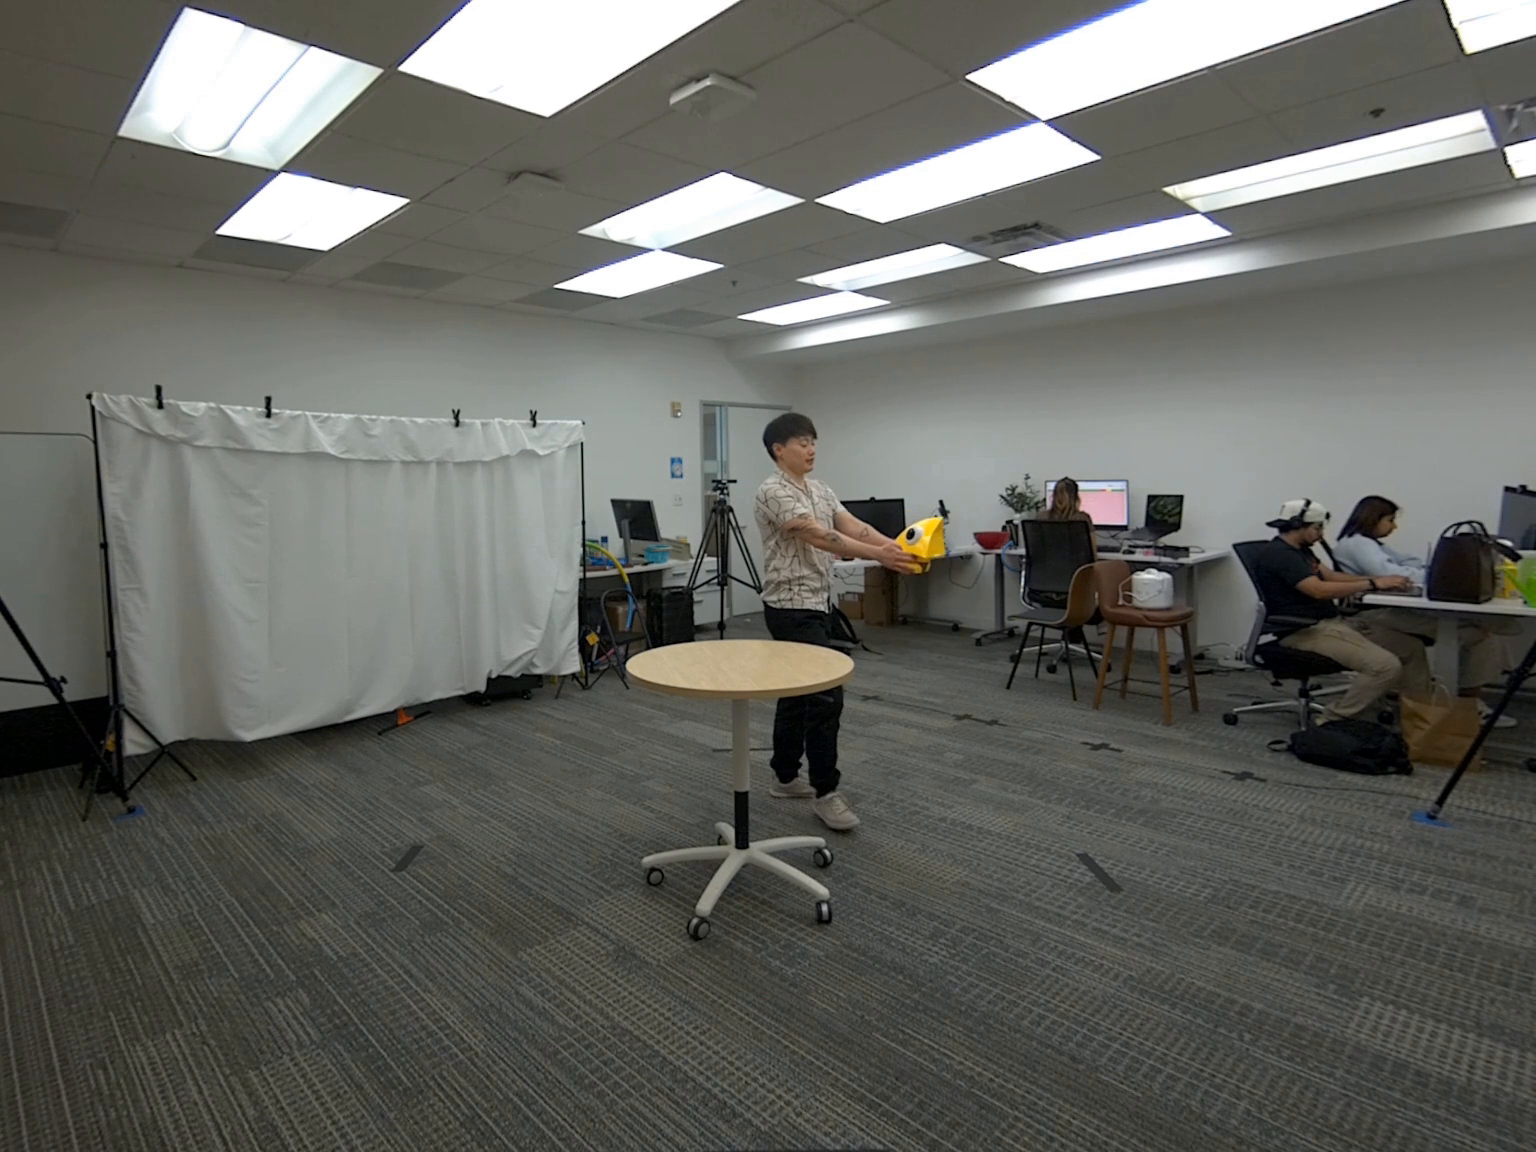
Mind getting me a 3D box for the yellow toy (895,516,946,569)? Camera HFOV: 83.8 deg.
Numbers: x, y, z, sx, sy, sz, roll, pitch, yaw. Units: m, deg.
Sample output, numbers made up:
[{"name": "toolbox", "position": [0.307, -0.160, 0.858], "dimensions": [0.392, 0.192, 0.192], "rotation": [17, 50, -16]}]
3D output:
[{"name": "yellow toy", "position": [0.594, -0.148, 3.349], "dimensions": [0.200, 0.228, 0.200], "rotation": [28, 19, 30]}]
